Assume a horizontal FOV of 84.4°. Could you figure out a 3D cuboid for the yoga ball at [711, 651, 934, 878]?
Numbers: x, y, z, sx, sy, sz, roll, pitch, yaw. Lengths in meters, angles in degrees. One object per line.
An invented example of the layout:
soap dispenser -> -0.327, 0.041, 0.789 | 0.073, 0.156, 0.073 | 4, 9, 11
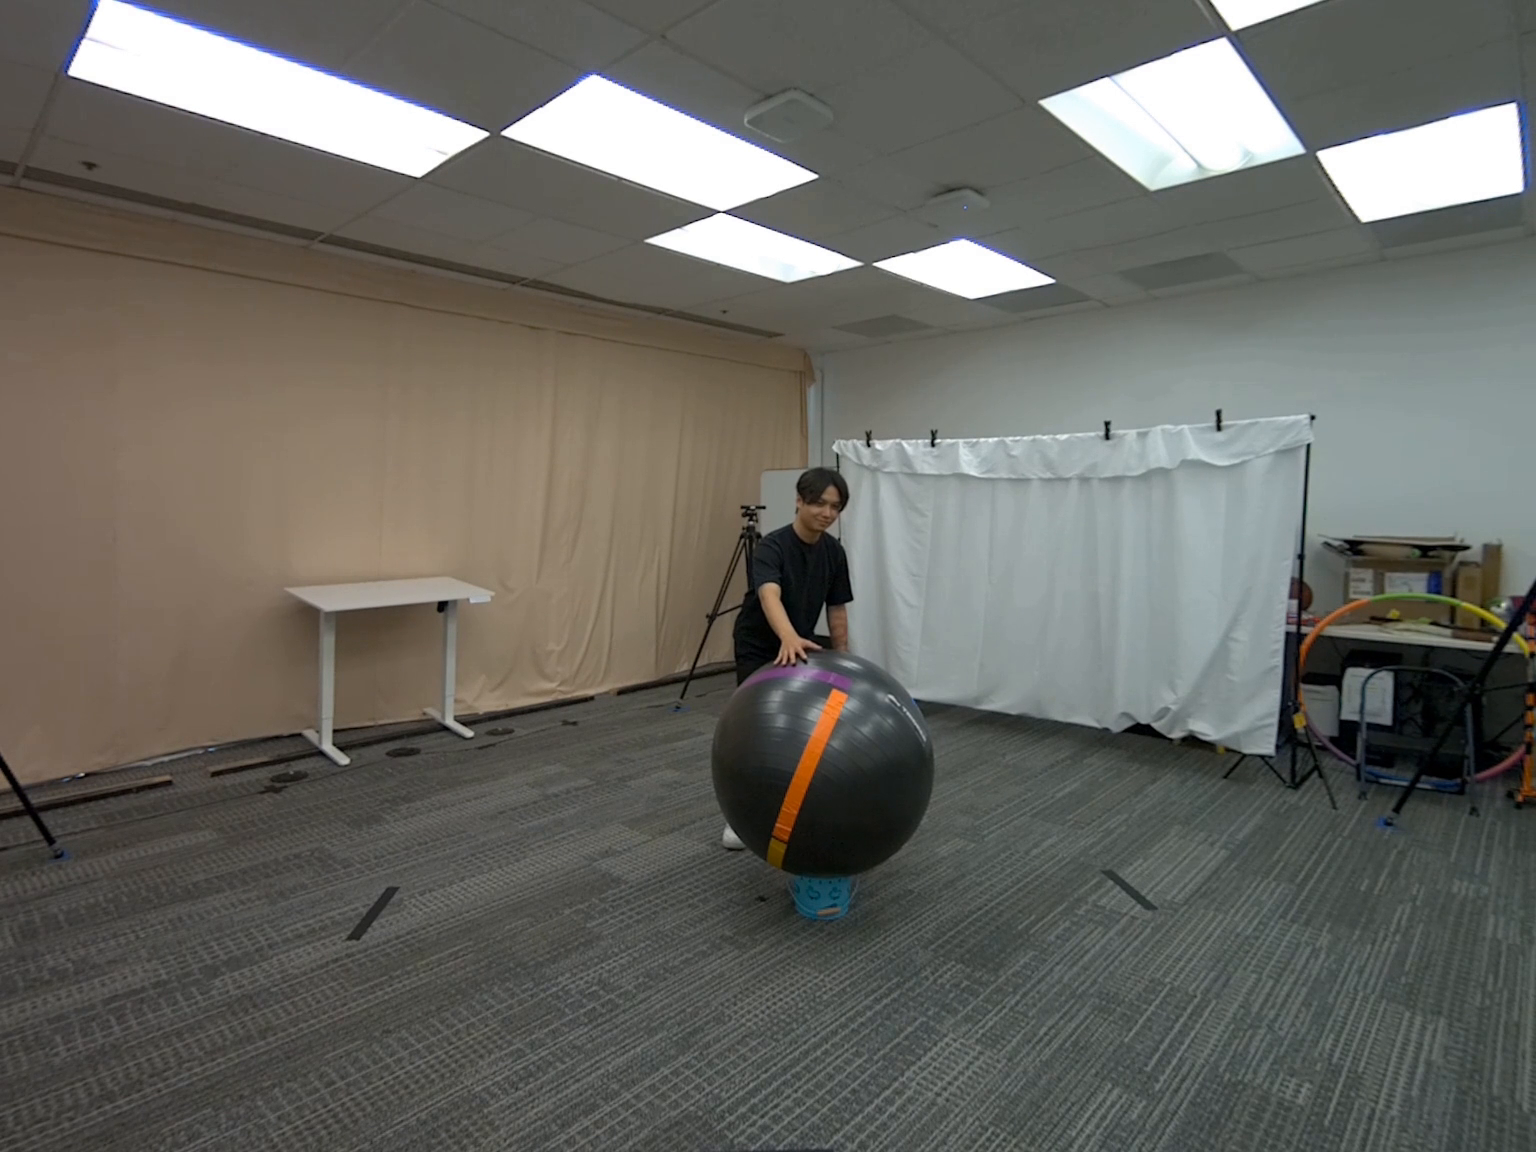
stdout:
yoga ball -> 0.187, 0.642, 2.890 | 0.757, 0.756, 0.760 | 0, 4, -2
